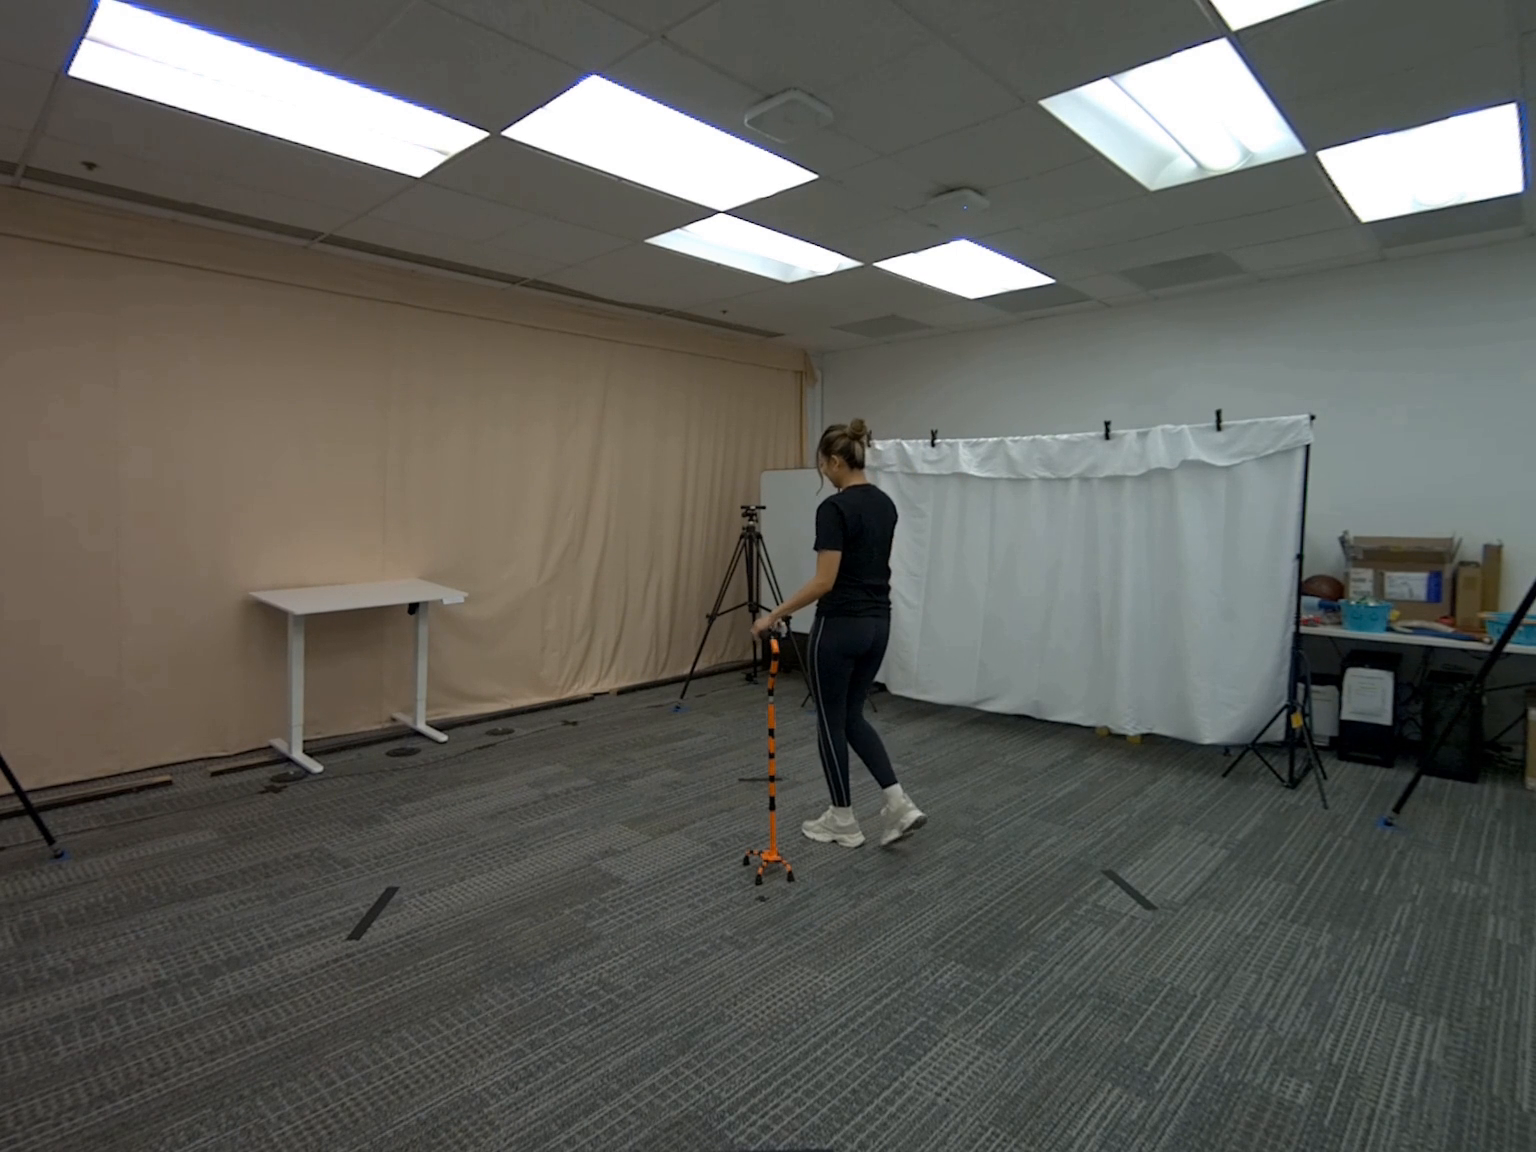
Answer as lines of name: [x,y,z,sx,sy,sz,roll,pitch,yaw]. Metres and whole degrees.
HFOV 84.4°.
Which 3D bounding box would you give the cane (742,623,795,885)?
cane: [0.003,0.676,3.179,0.149,0.906,0.210,0,2,-16]
